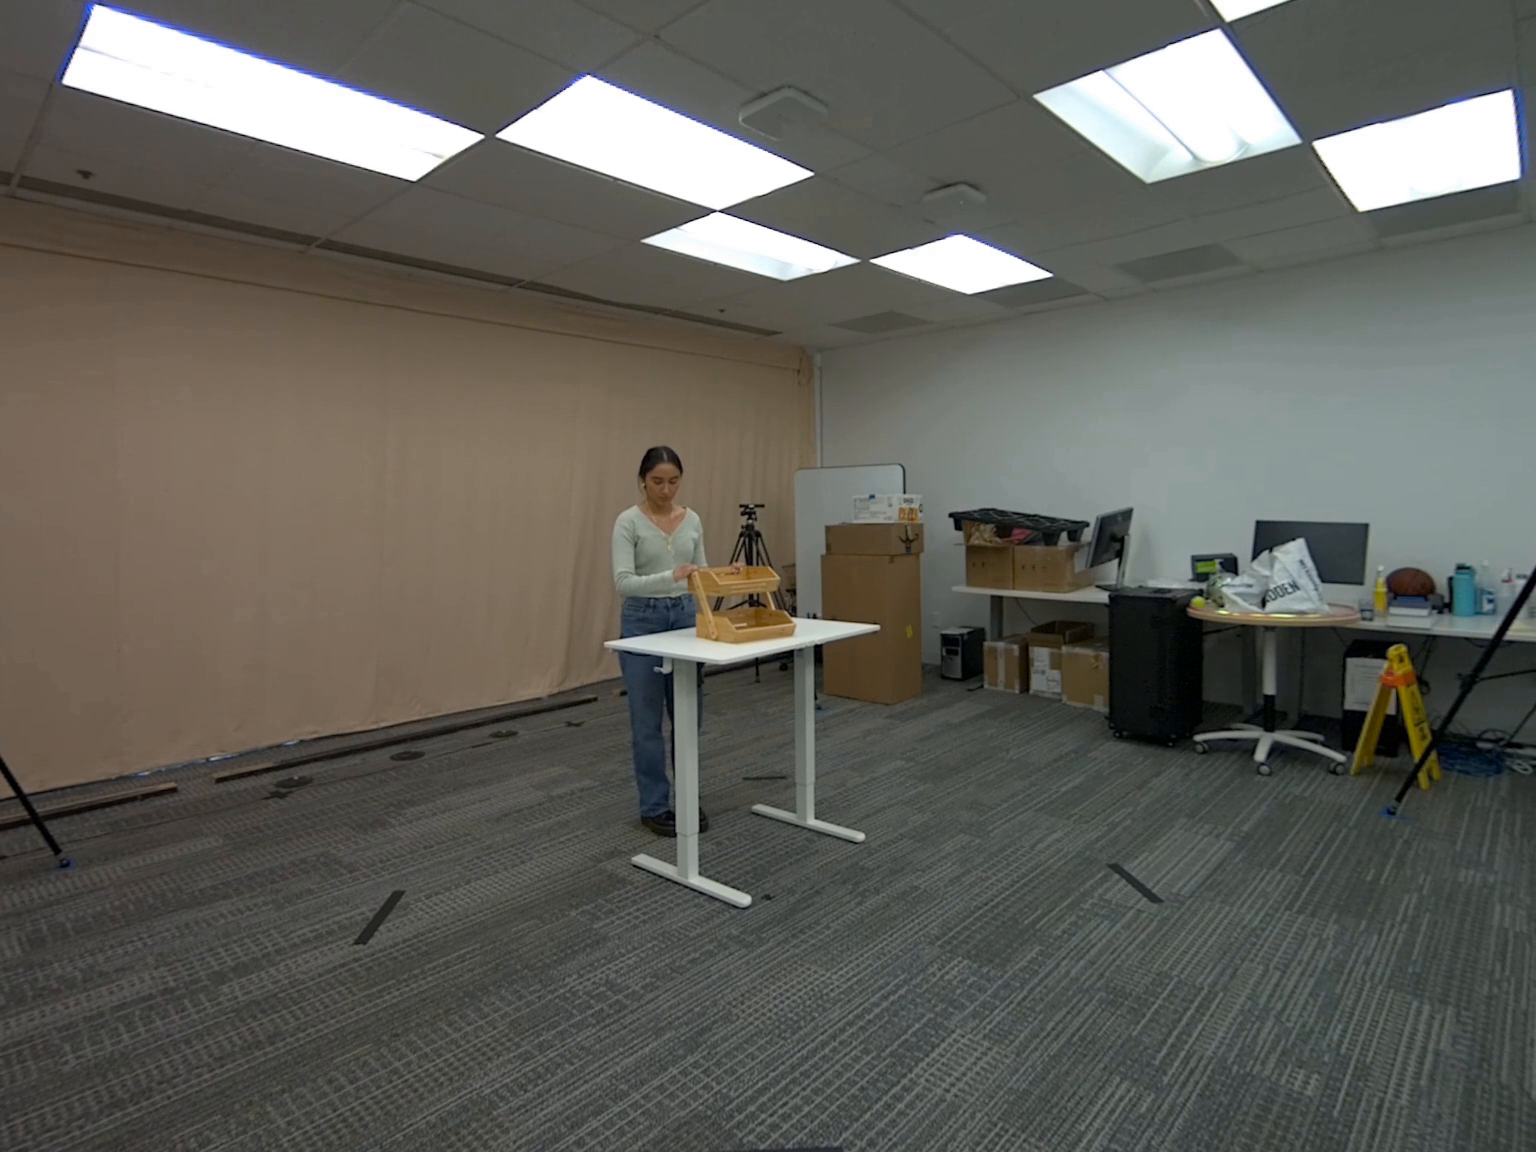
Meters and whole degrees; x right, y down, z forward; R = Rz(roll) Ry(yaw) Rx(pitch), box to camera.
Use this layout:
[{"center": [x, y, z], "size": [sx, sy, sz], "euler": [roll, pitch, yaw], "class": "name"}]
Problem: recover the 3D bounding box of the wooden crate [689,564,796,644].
[{"center": [-0.099, 0.102, 3.276], "size": [0.315, 0.273, 0.312], "euler": [-4, 4, -38], "class": "wooden crate"}]
